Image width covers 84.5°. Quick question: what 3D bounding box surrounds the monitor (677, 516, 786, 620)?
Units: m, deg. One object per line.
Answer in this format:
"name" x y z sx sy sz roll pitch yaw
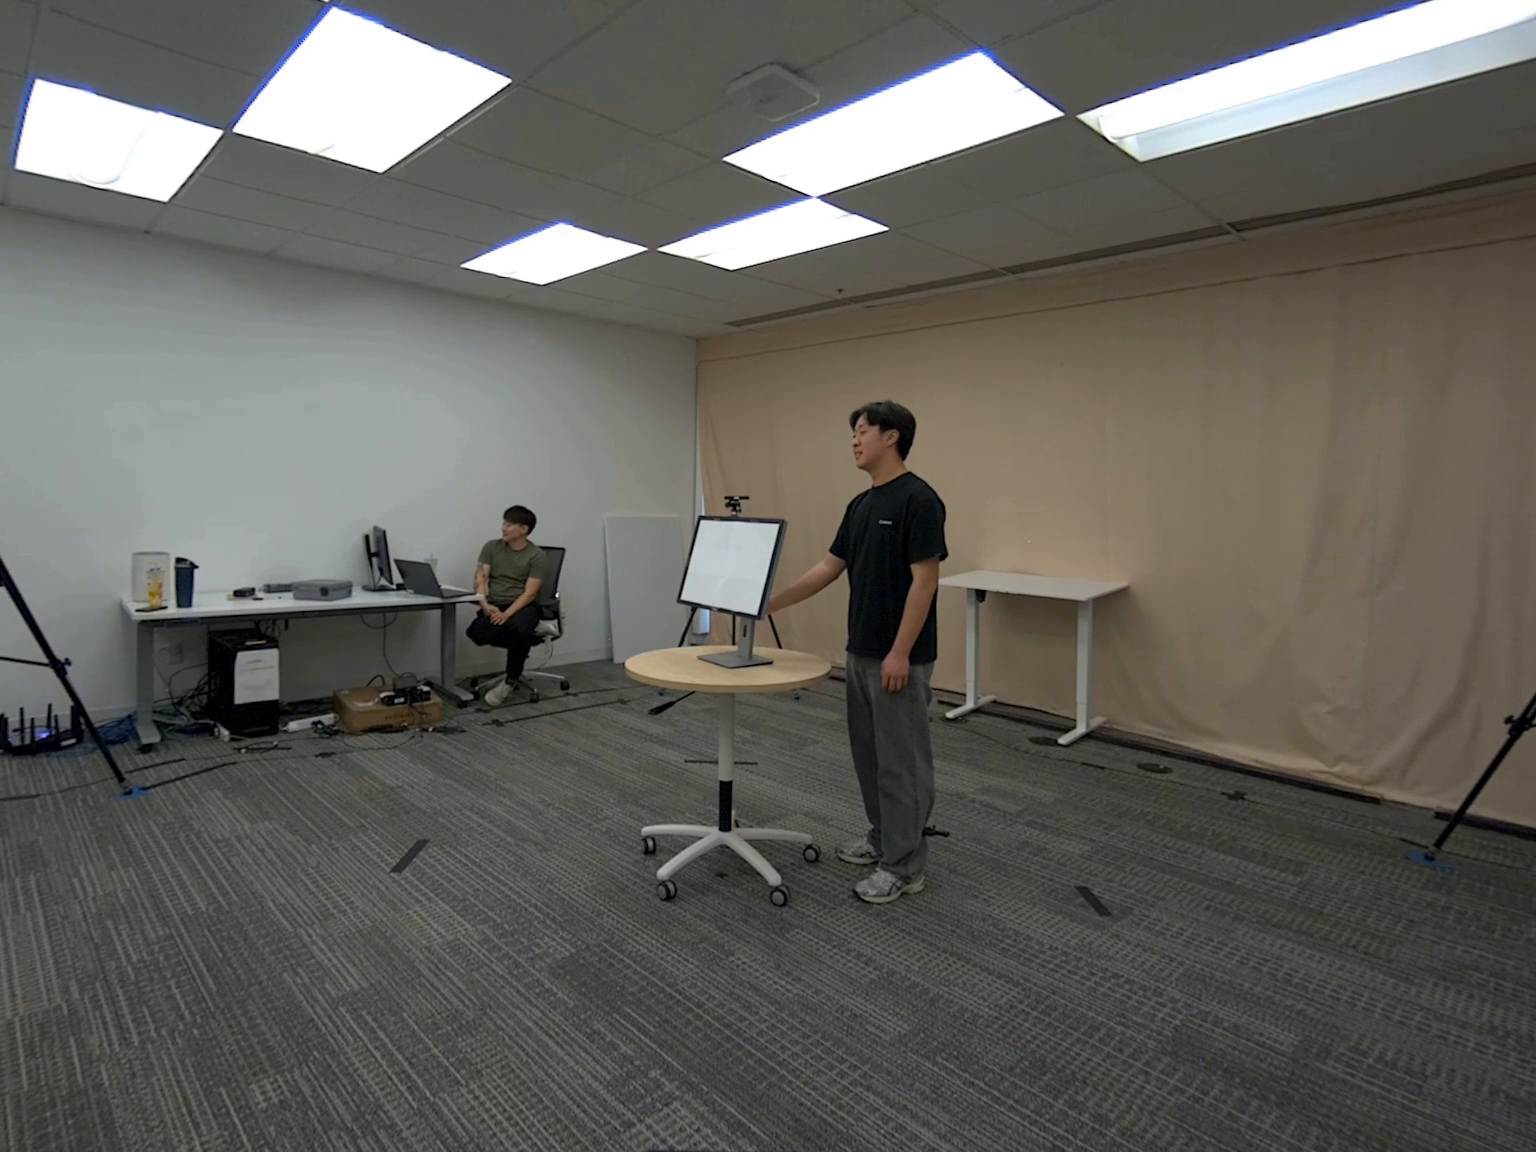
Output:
"monitor" -0.126 0.062 3.166 0.217 0.565 0.575 -2 4 -33
